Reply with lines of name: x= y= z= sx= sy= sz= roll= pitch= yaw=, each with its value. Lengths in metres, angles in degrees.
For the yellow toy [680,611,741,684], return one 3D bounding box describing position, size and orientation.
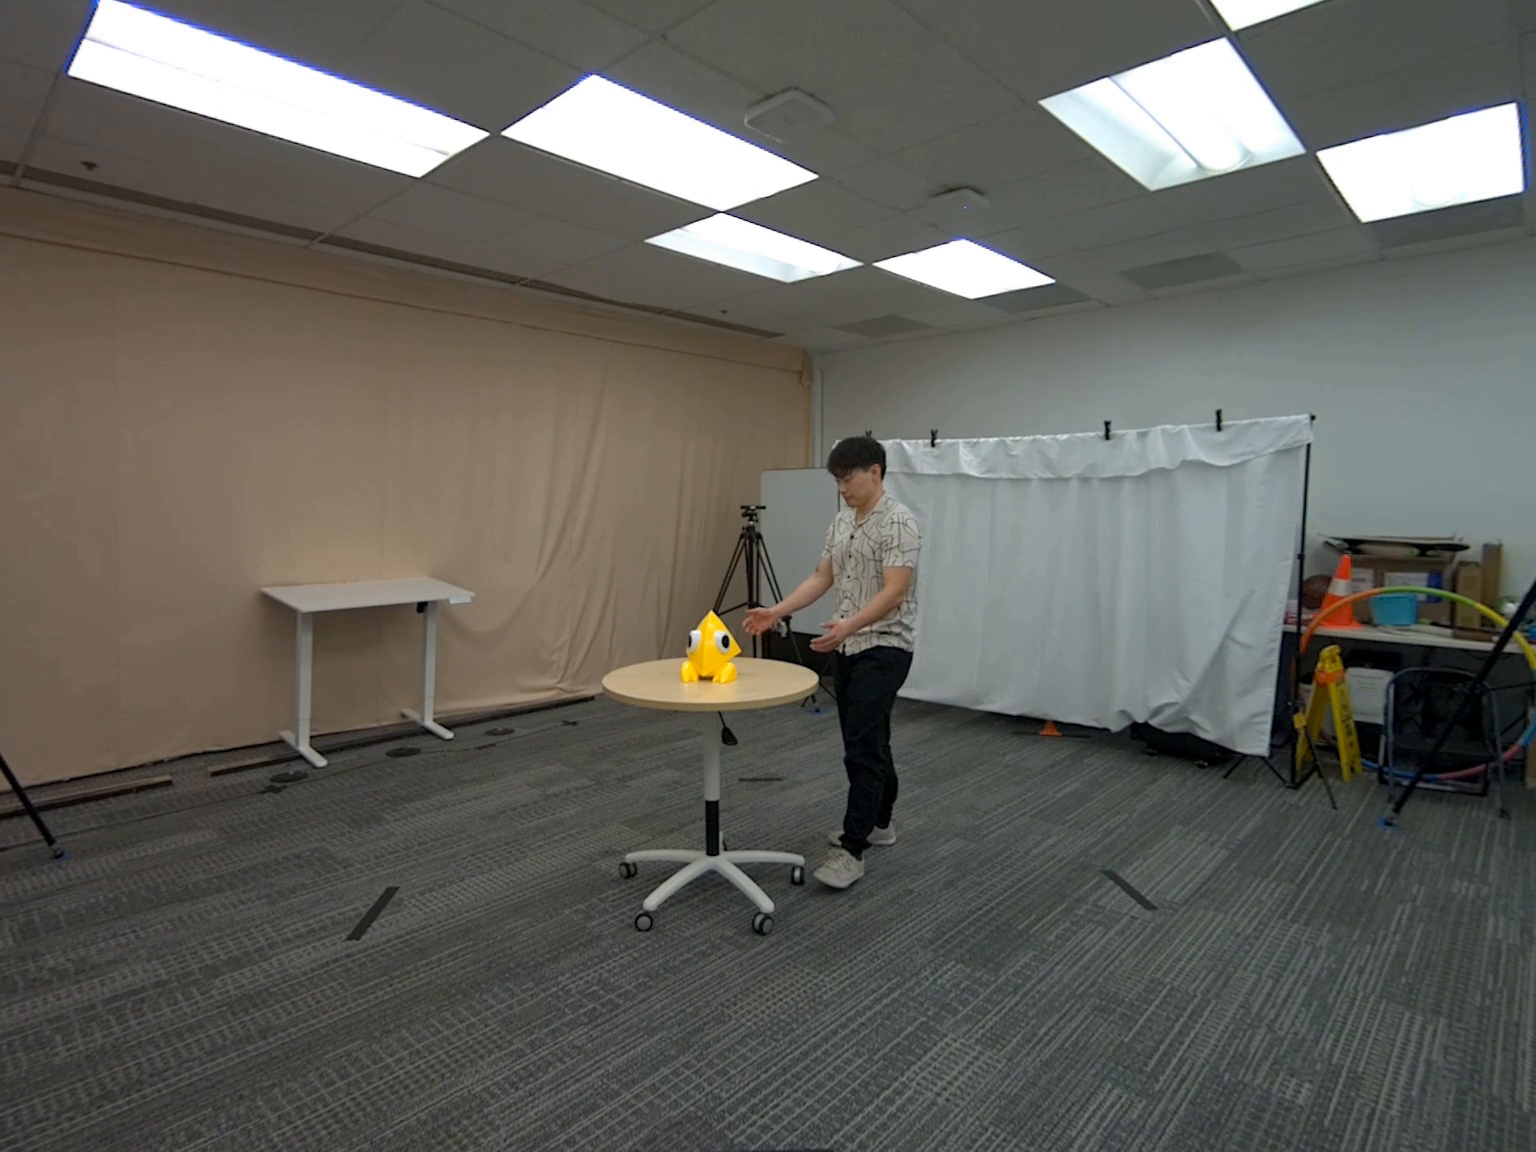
yellow toy: x=-0.211 y=0.249 z=2.985 sx=0.207 sy=0.230 sz=0.191 roll=-1 pitch=4 yaw=10
